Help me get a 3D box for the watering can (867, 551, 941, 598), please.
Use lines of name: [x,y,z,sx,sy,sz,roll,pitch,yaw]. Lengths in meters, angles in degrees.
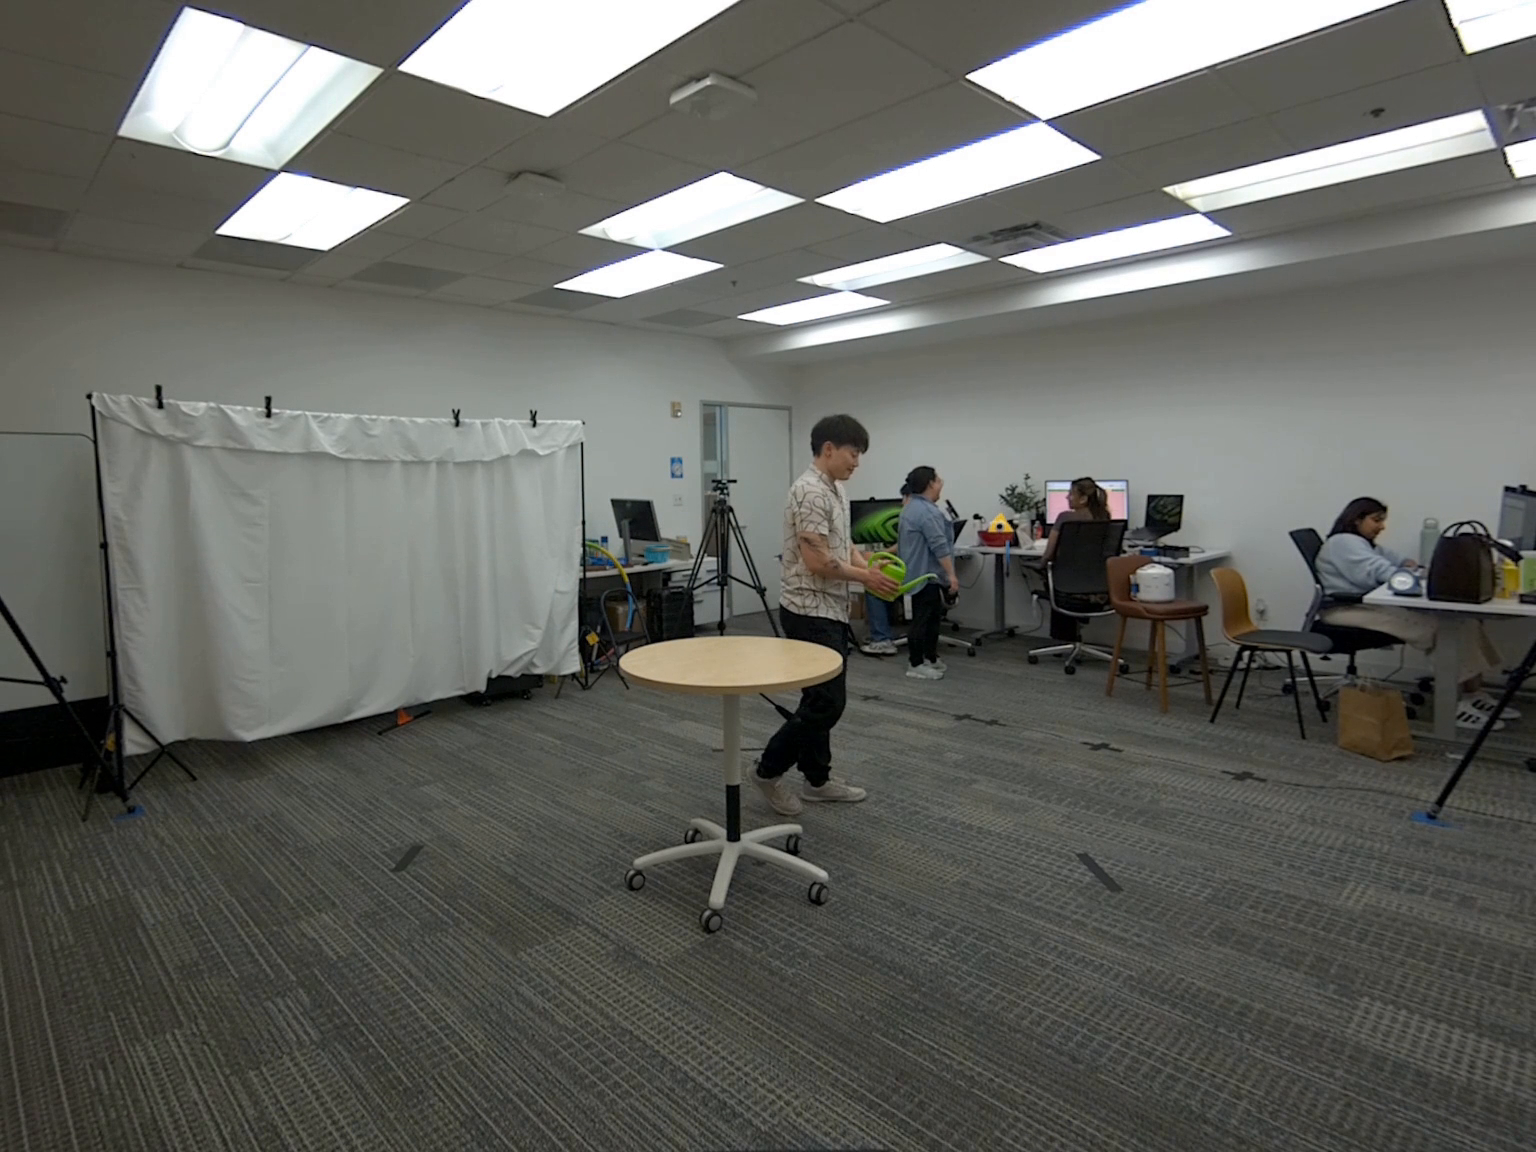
watering can: [0.519,0.021,3.496,0.287,0.176,0.095,28,9,28]
